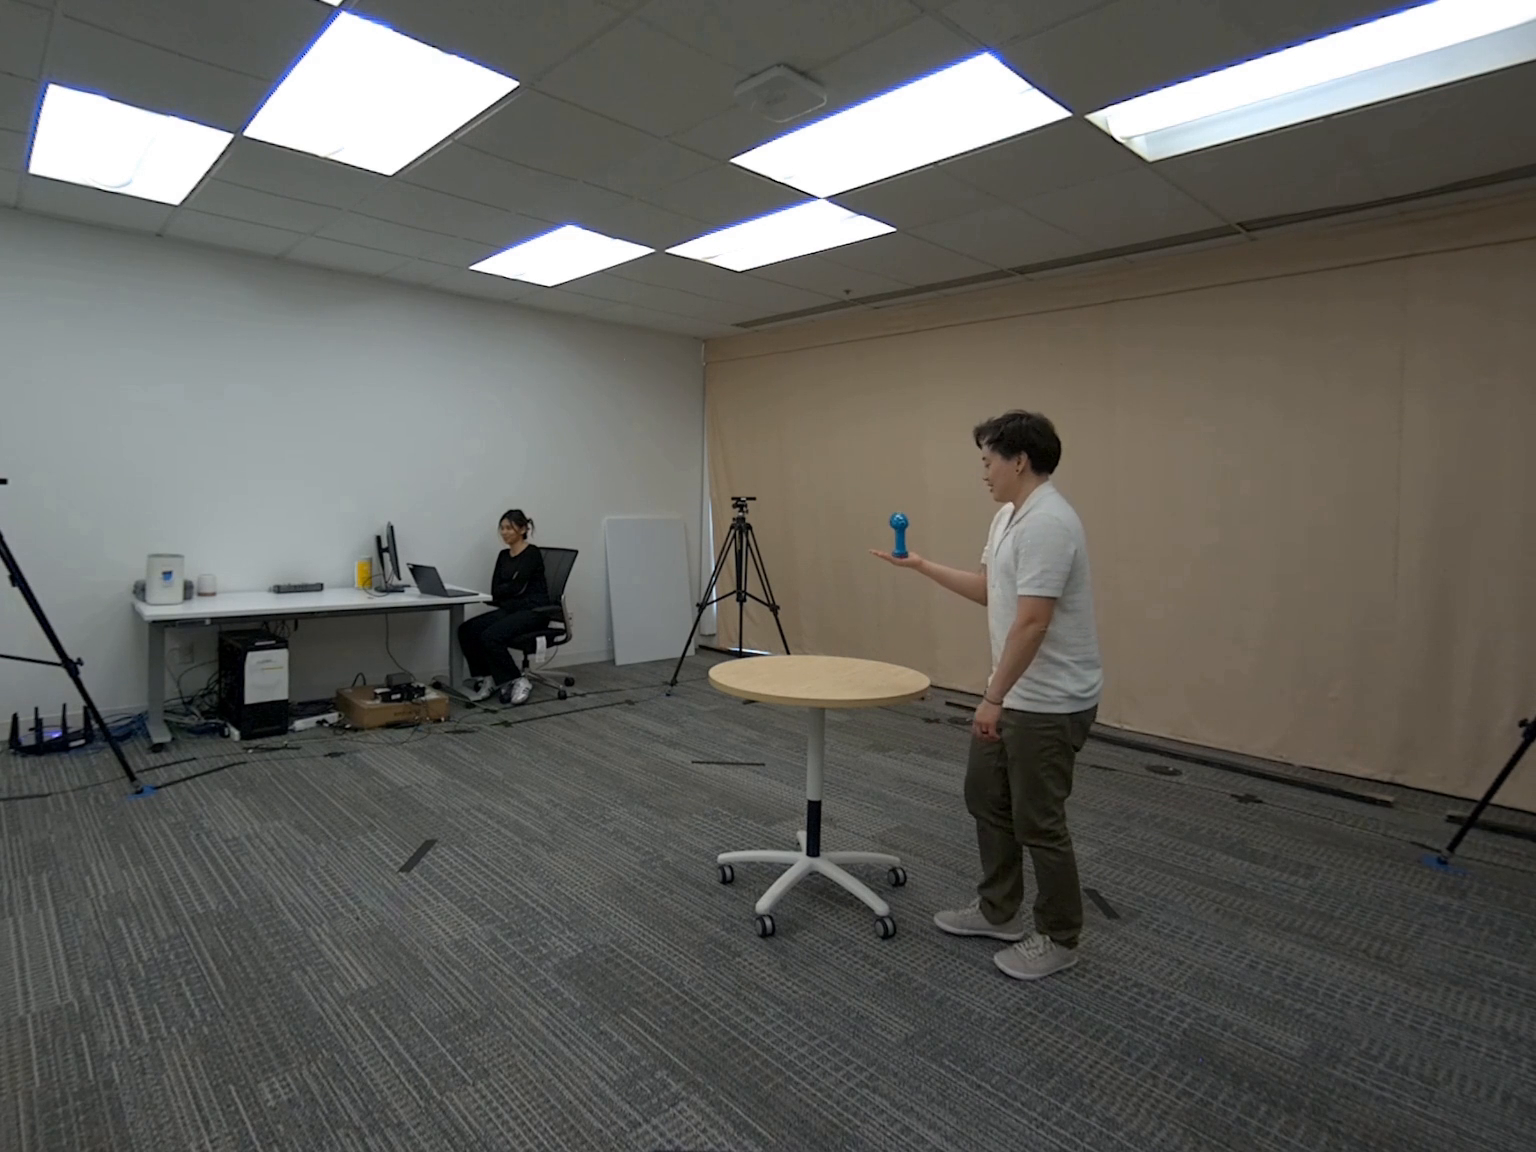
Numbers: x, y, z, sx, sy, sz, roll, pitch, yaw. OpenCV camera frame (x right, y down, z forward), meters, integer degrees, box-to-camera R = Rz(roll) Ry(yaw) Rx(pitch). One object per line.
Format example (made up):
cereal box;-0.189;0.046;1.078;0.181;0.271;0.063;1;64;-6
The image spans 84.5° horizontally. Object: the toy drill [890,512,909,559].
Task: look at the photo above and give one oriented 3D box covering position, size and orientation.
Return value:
toy drill;0.432;-0.145;2.813;0.061;0.145;0.171;-1;10;0
